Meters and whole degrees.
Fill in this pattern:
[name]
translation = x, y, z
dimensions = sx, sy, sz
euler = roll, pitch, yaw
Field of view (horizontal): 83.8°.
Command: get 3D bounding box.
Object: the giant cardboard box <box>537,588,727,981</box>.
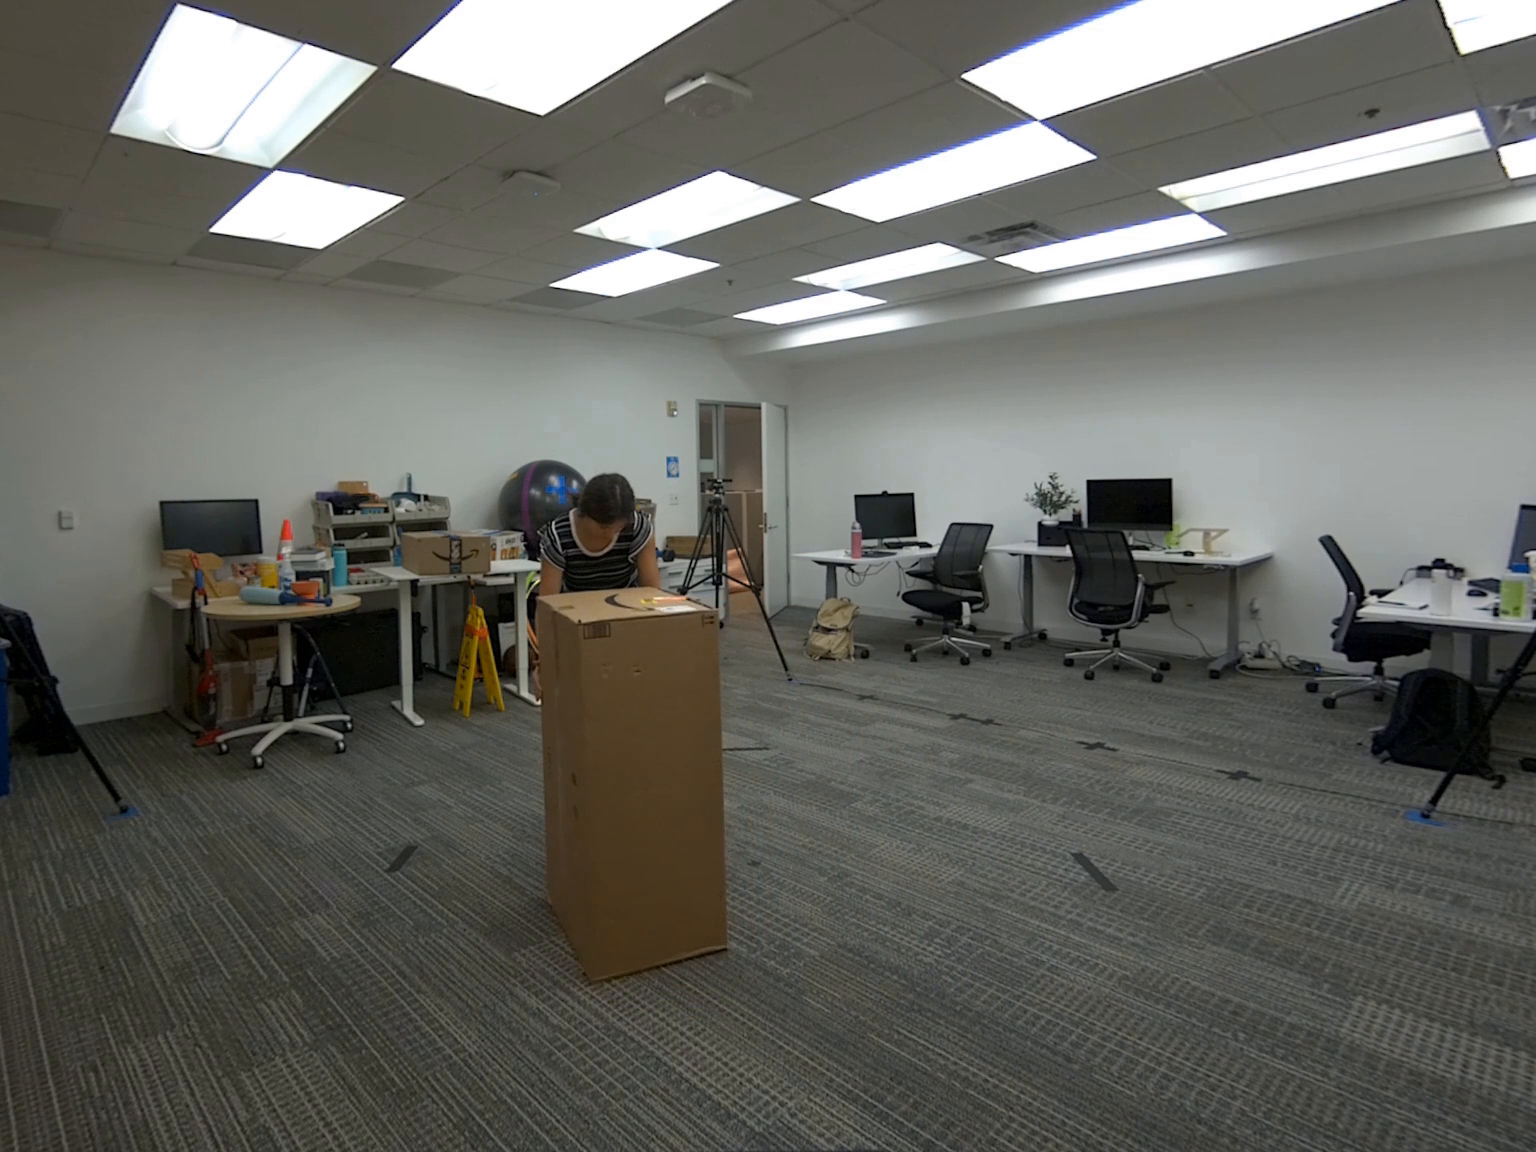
[giant cardboard box]
translation = -0.435, 0.592, 2.682
dimensions = 0.417, 1.022, 0.592
euler = -3, 5, -27
